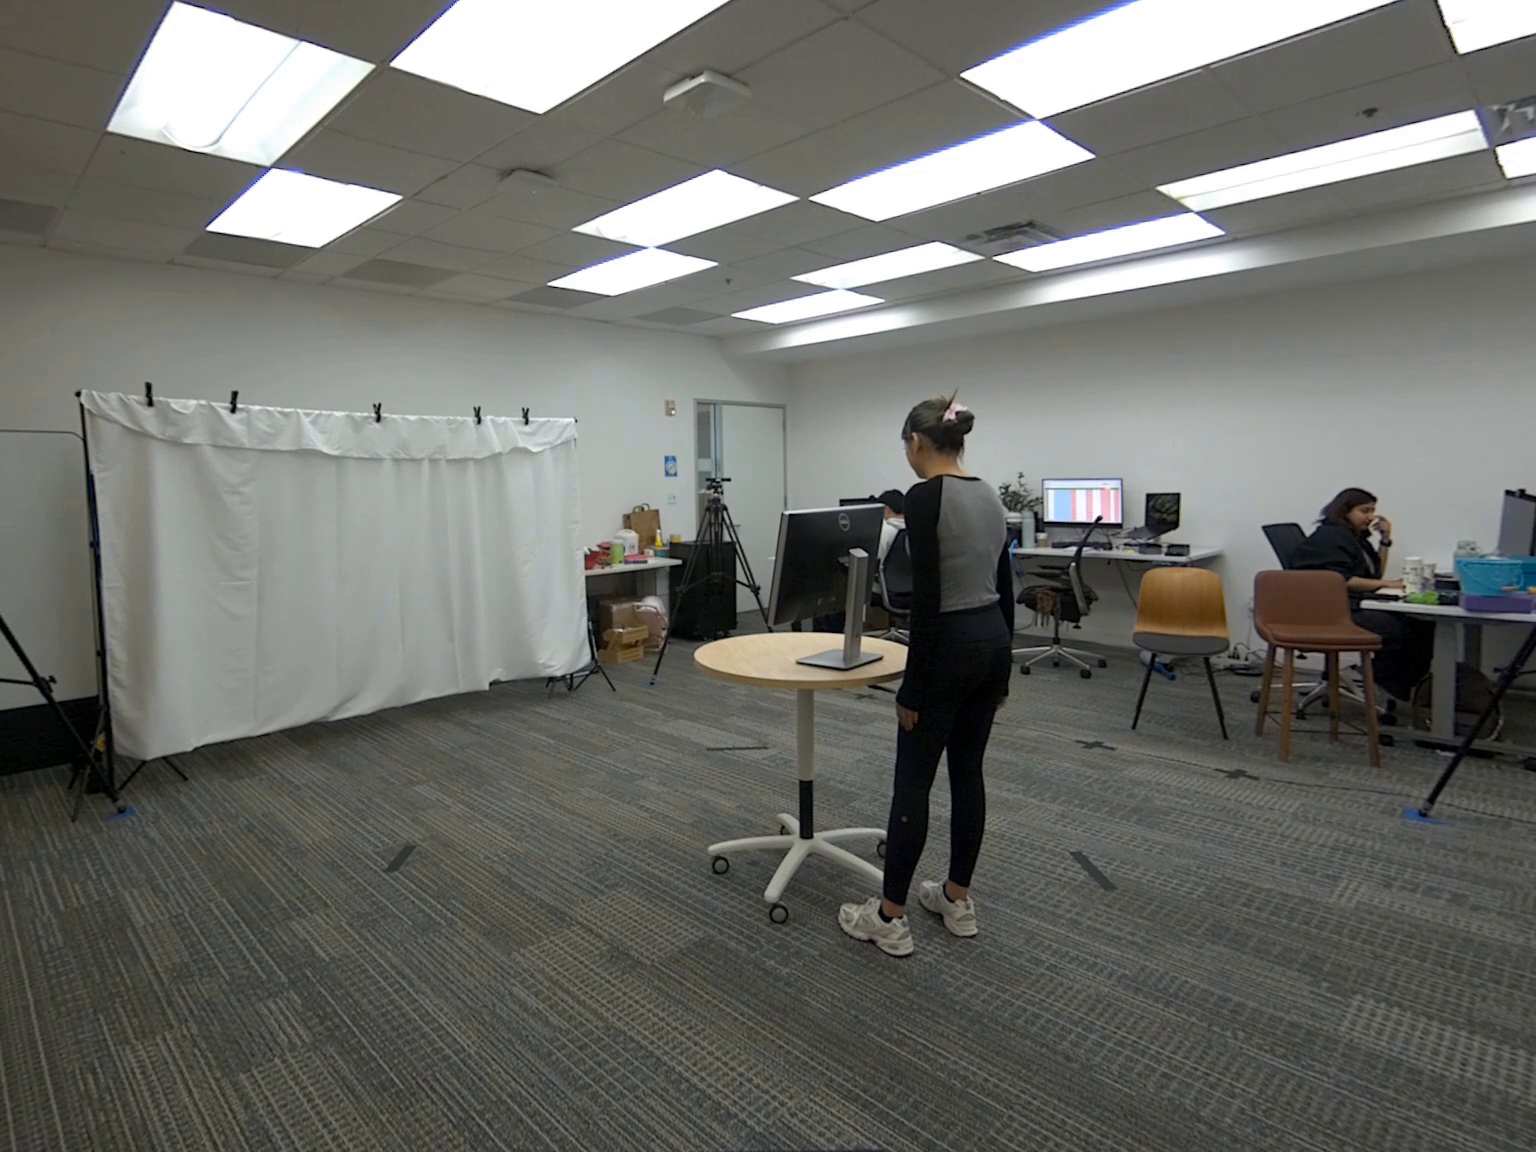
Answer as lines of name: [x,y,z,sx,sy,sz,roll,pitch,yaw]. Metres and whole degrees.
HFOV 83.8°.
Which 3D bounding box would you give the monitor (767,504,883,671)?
monitor: [0.232,0.035,2.809,0.179,0.516,0.517,-7,1,40]
